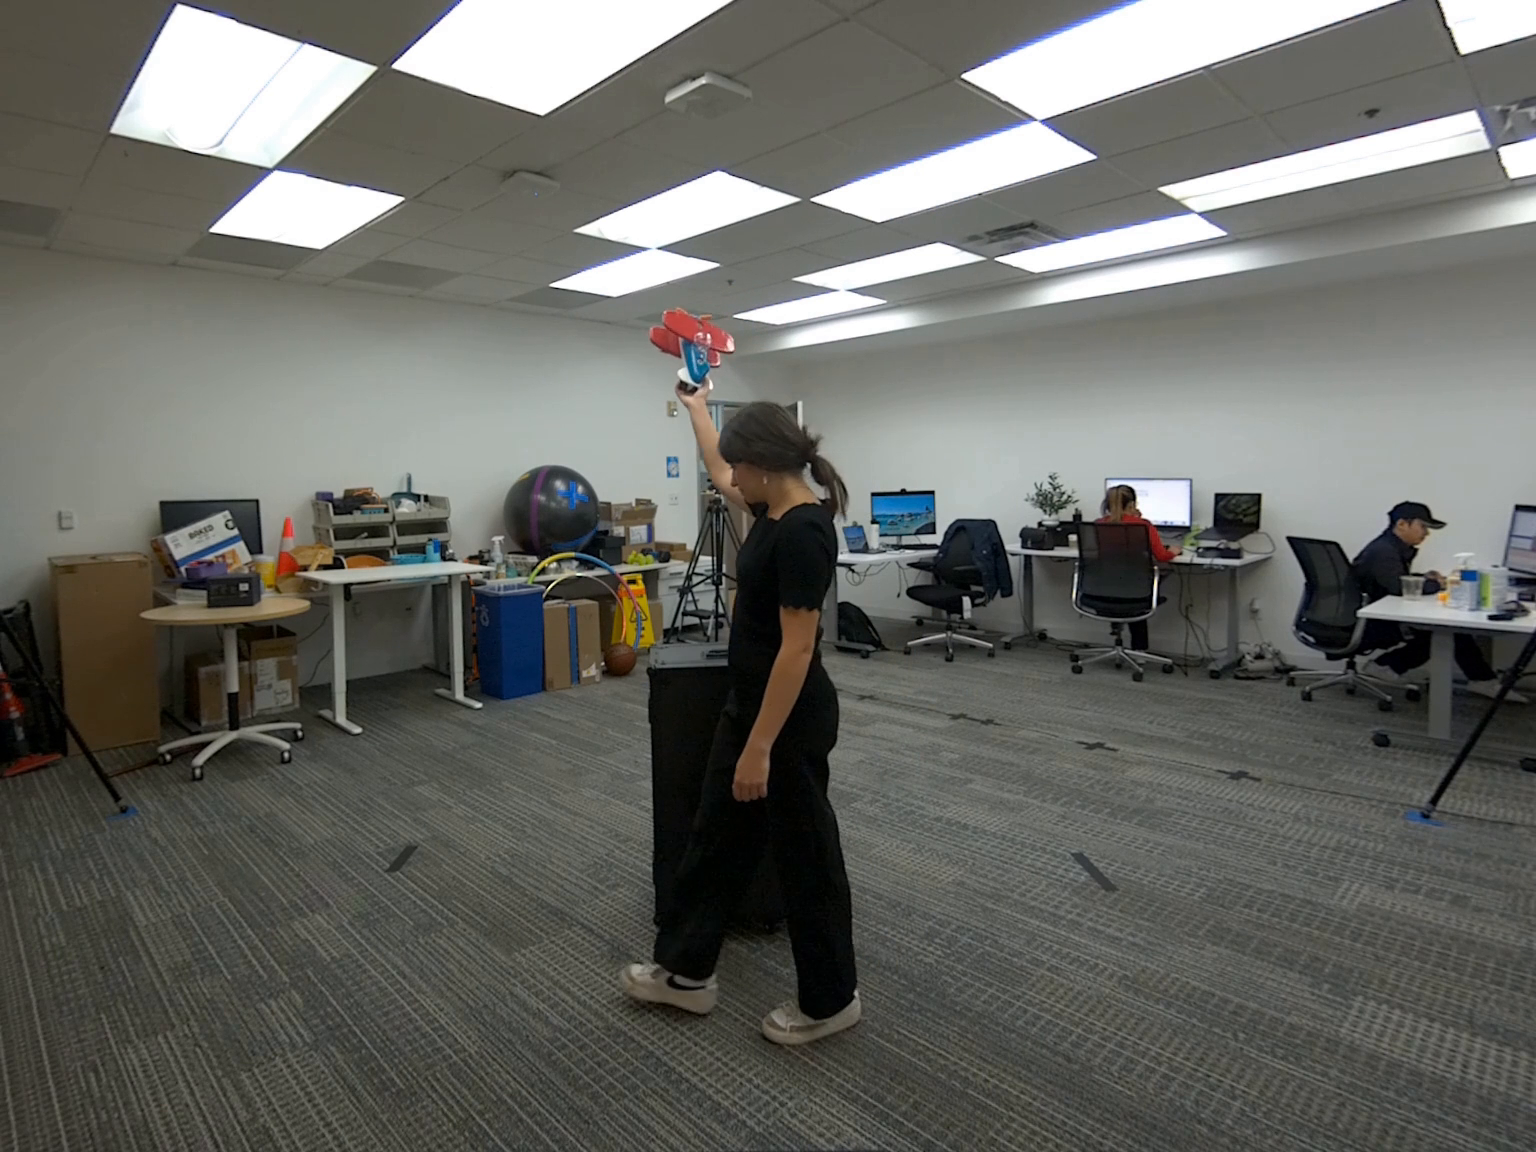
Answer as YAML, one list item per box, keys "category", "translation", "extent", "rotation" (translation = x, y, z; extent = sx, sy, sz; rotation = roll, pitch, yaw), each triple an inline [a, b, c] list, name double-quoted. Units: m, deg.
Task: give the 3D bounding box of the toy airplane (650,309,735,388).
- category: "toy airplane"
  translation: [-0.215, -0.674, 2.602]
  extent: [0.246, 0.265, 0.156]
  rotation: [-18, -26, -52]
